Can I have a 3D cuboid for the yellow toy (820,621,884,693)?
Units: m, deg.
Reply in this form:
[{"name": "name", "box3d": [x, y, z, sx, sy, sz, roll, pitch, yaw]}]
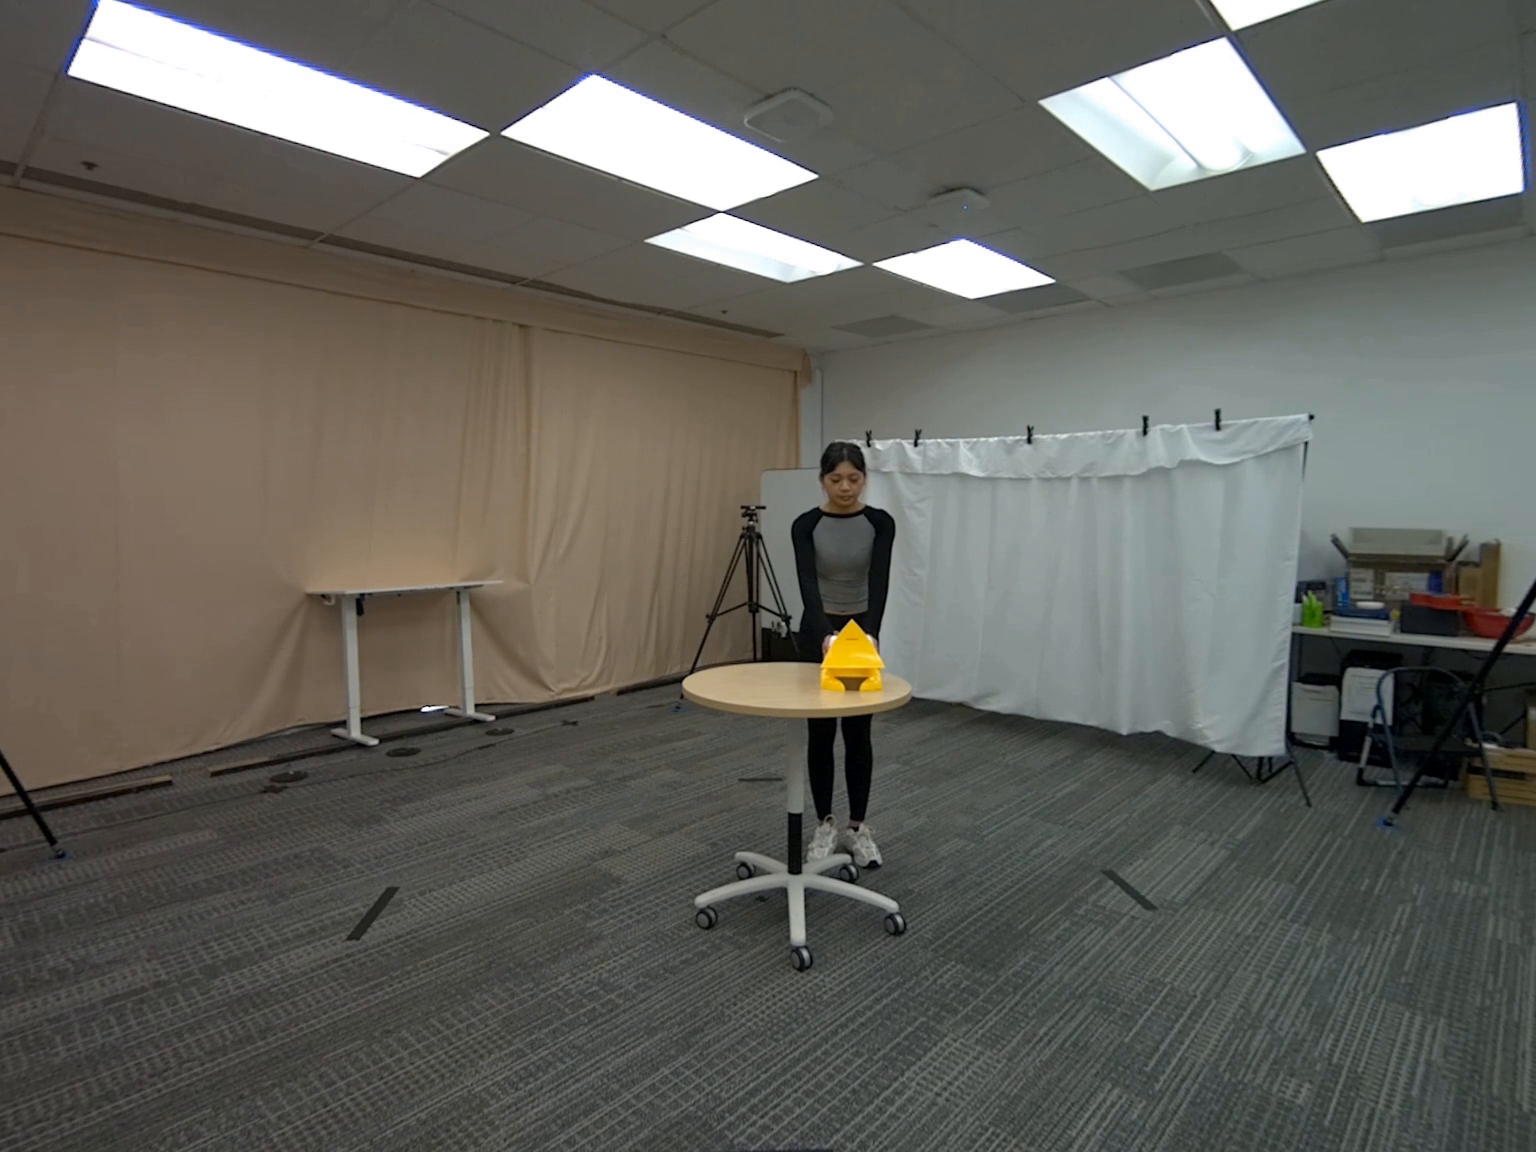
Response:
[{"name": "yellow toy", "box3d": [0.265, 0.244, 2.777, 0.206, 0.230, 0.193, 1, 5, 3]}]
